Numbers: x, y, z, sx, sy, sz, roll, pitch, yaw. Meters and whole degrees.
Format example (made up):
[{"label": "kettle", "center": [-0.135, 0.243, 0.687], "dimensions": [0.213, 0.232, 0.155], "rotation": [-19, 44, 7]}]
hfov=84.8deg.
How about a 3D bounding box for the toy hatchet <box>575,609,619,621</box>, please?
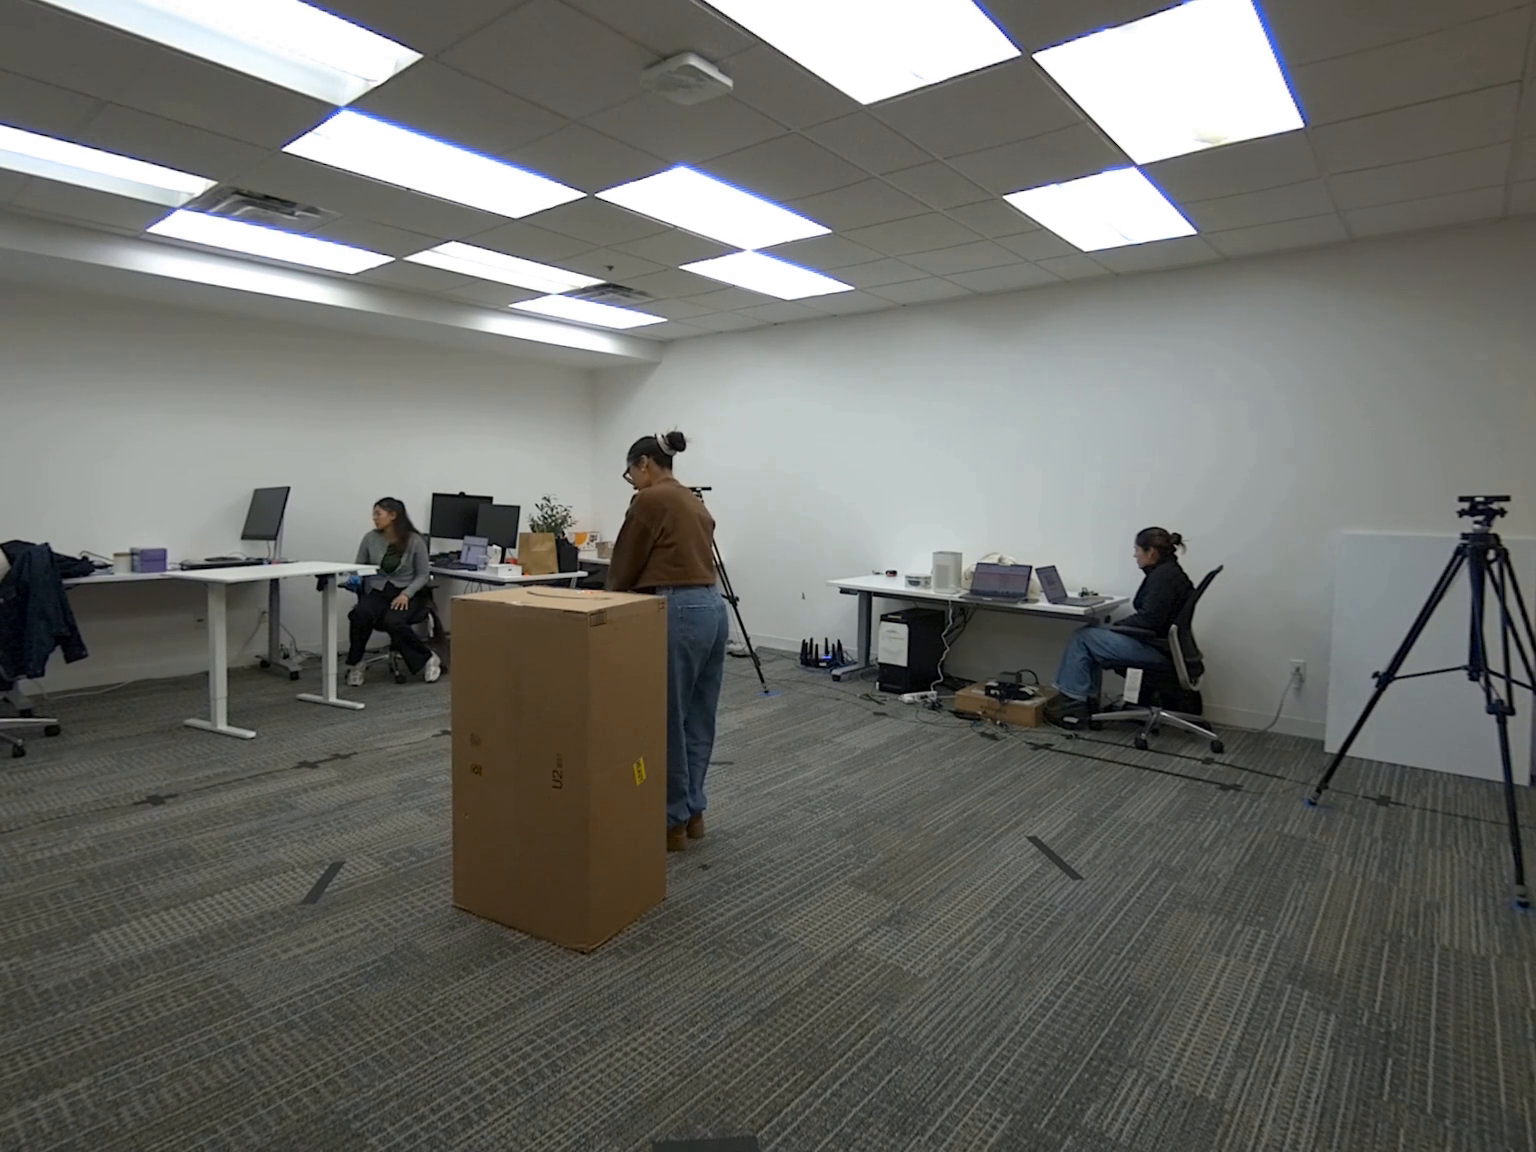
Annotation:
[{"label": "toy hatchet", "center": [-0.744, 0.168, 3.642], "dimensions": [0.128, 0.029, 0.274], "rotation": [-7, -1, -22]}]
